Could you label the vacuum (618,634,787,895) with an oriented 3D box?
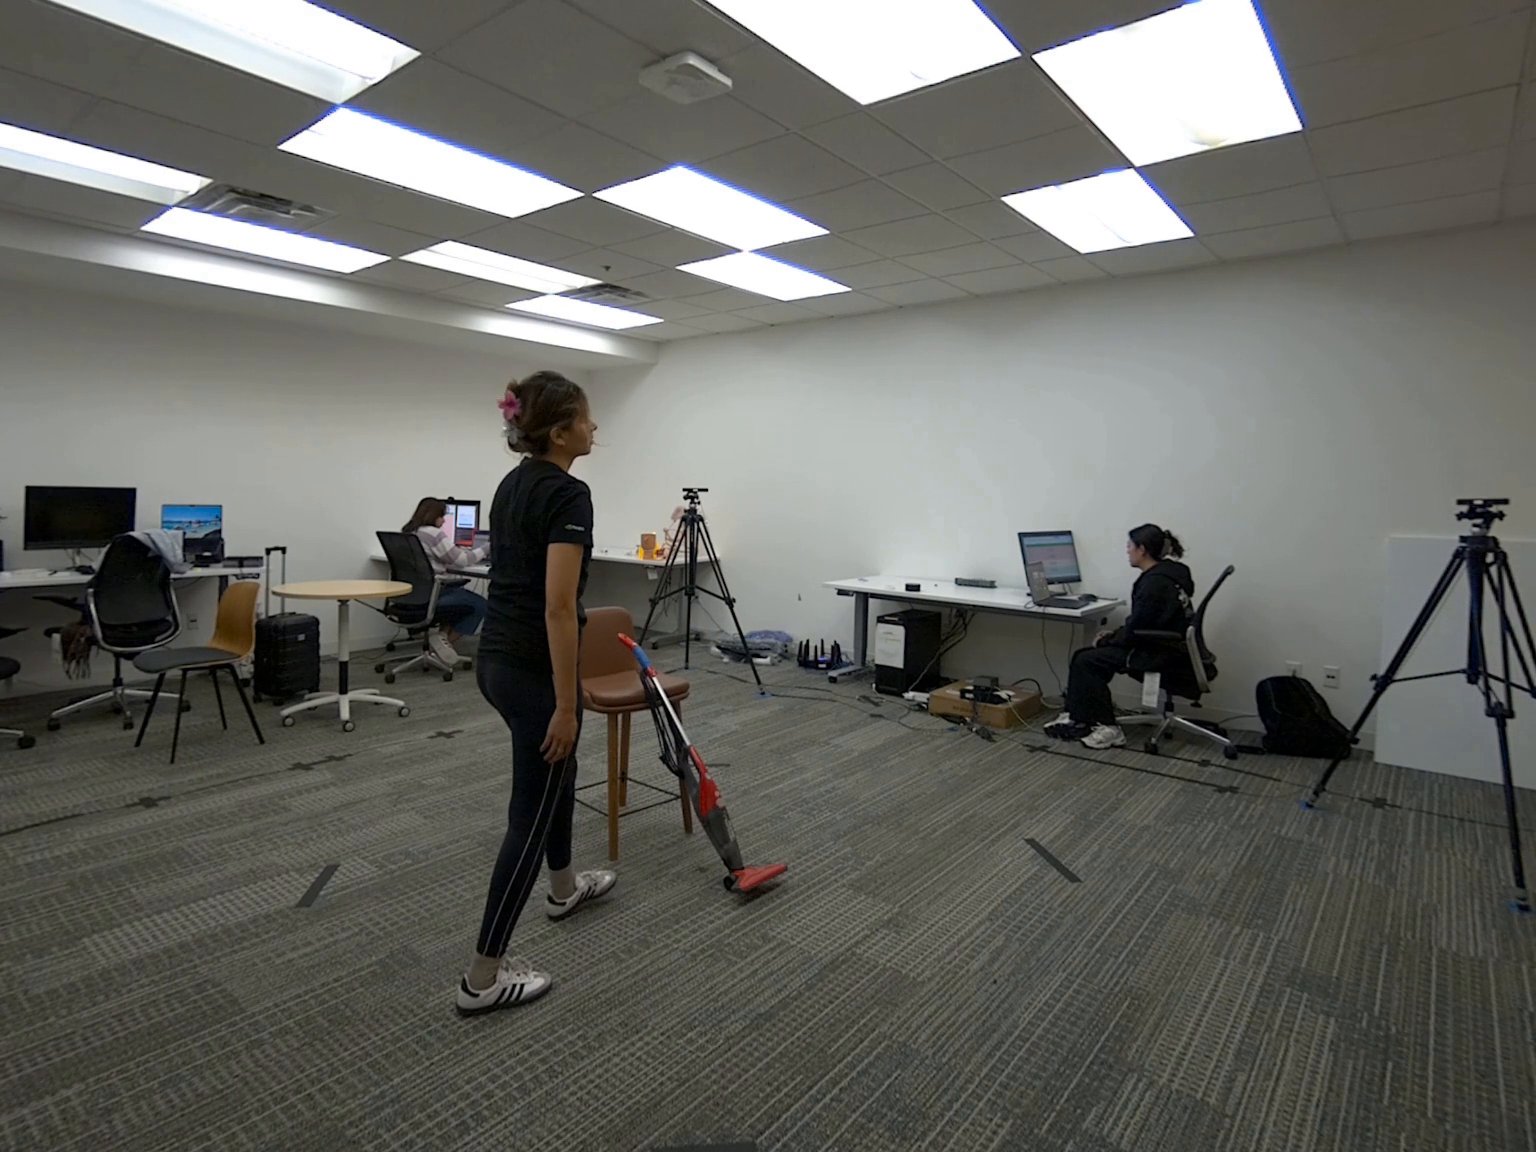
[{"bbox_3d":[-0.318,0.655,3.168,0.144,1.082,0.244,-45,-27,27],"label":"vacuum"}]
